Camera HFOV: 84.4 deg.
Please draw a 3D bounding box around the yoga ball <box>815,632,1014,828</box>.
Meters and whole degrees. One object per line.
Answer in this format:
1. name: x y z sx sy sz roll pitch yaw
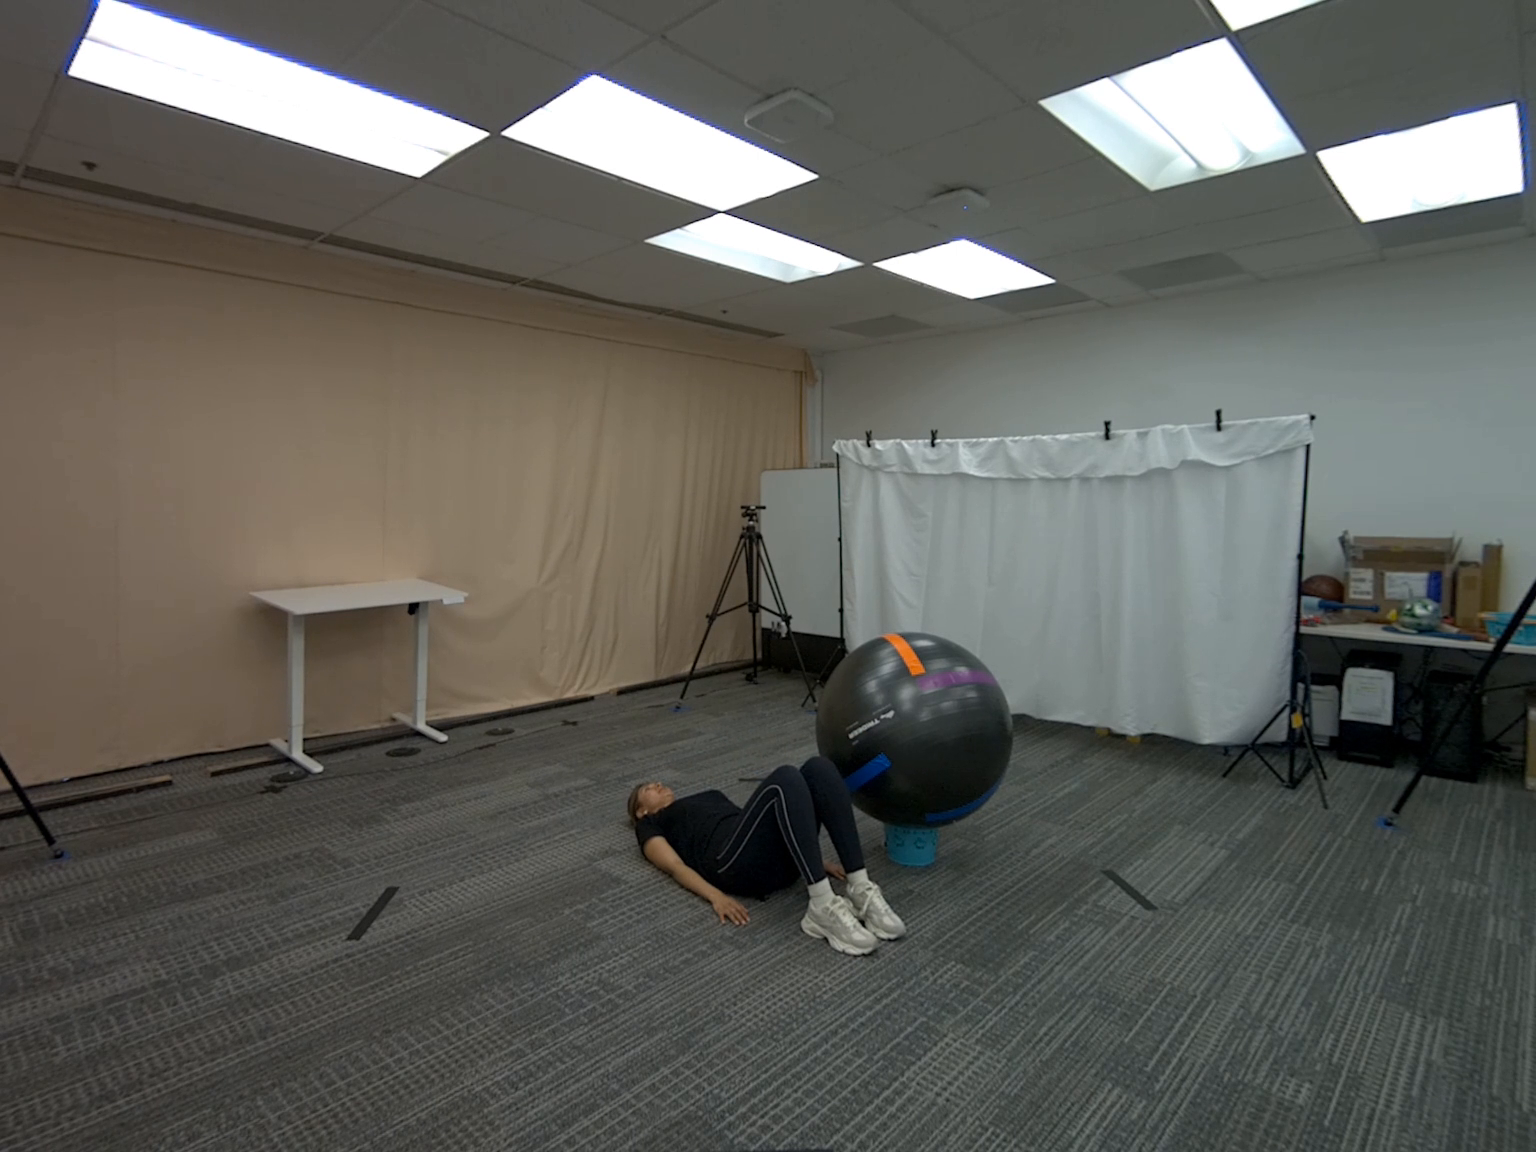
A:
1. yoga ball: 0.572 0.603 3.328 0.757 0.756 0.761 3 5 -2
